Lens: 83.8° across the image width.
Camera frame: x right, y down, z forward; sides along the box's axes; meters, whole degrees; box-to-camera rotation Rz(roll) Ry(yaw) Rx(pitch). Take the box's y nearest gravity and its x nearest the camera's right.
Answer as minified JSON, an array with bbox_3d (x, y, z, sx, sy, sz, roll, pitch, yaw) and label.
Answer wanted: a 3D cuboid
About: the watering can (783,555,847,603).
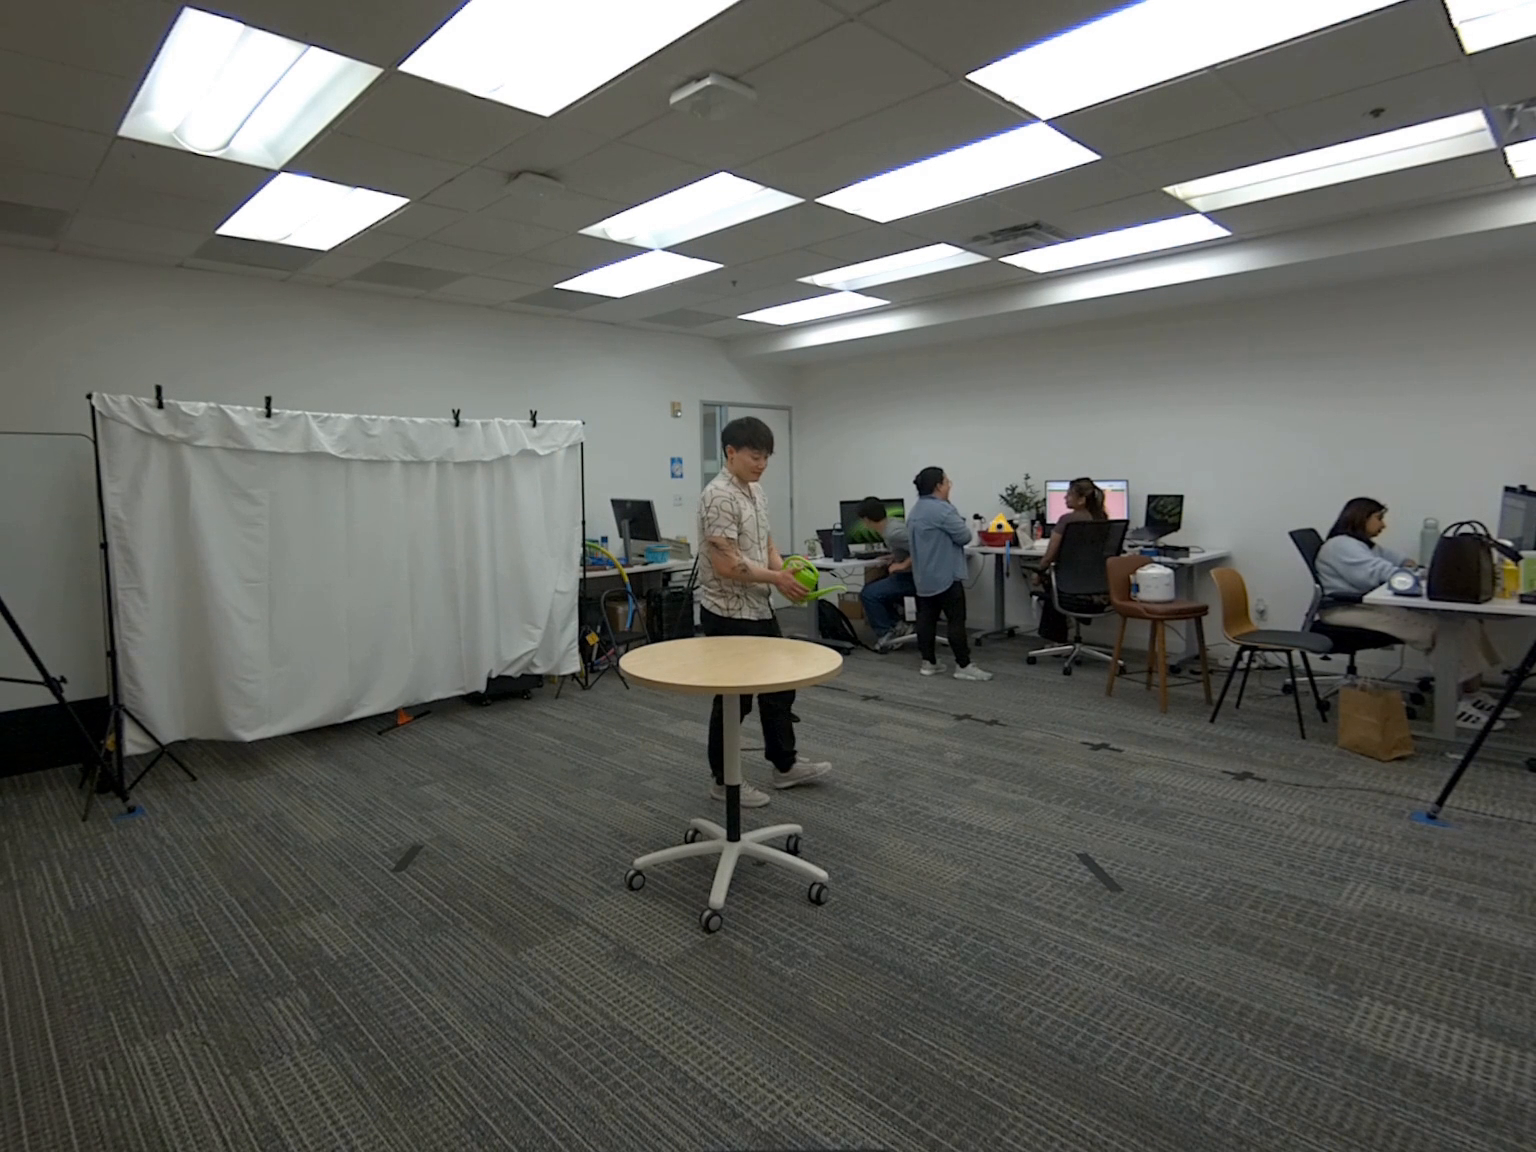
[{"bbox_3d":[0.167,0.042,3.538,0.286,0.176,0.095,37,11,24],"label":"watering can"}]
